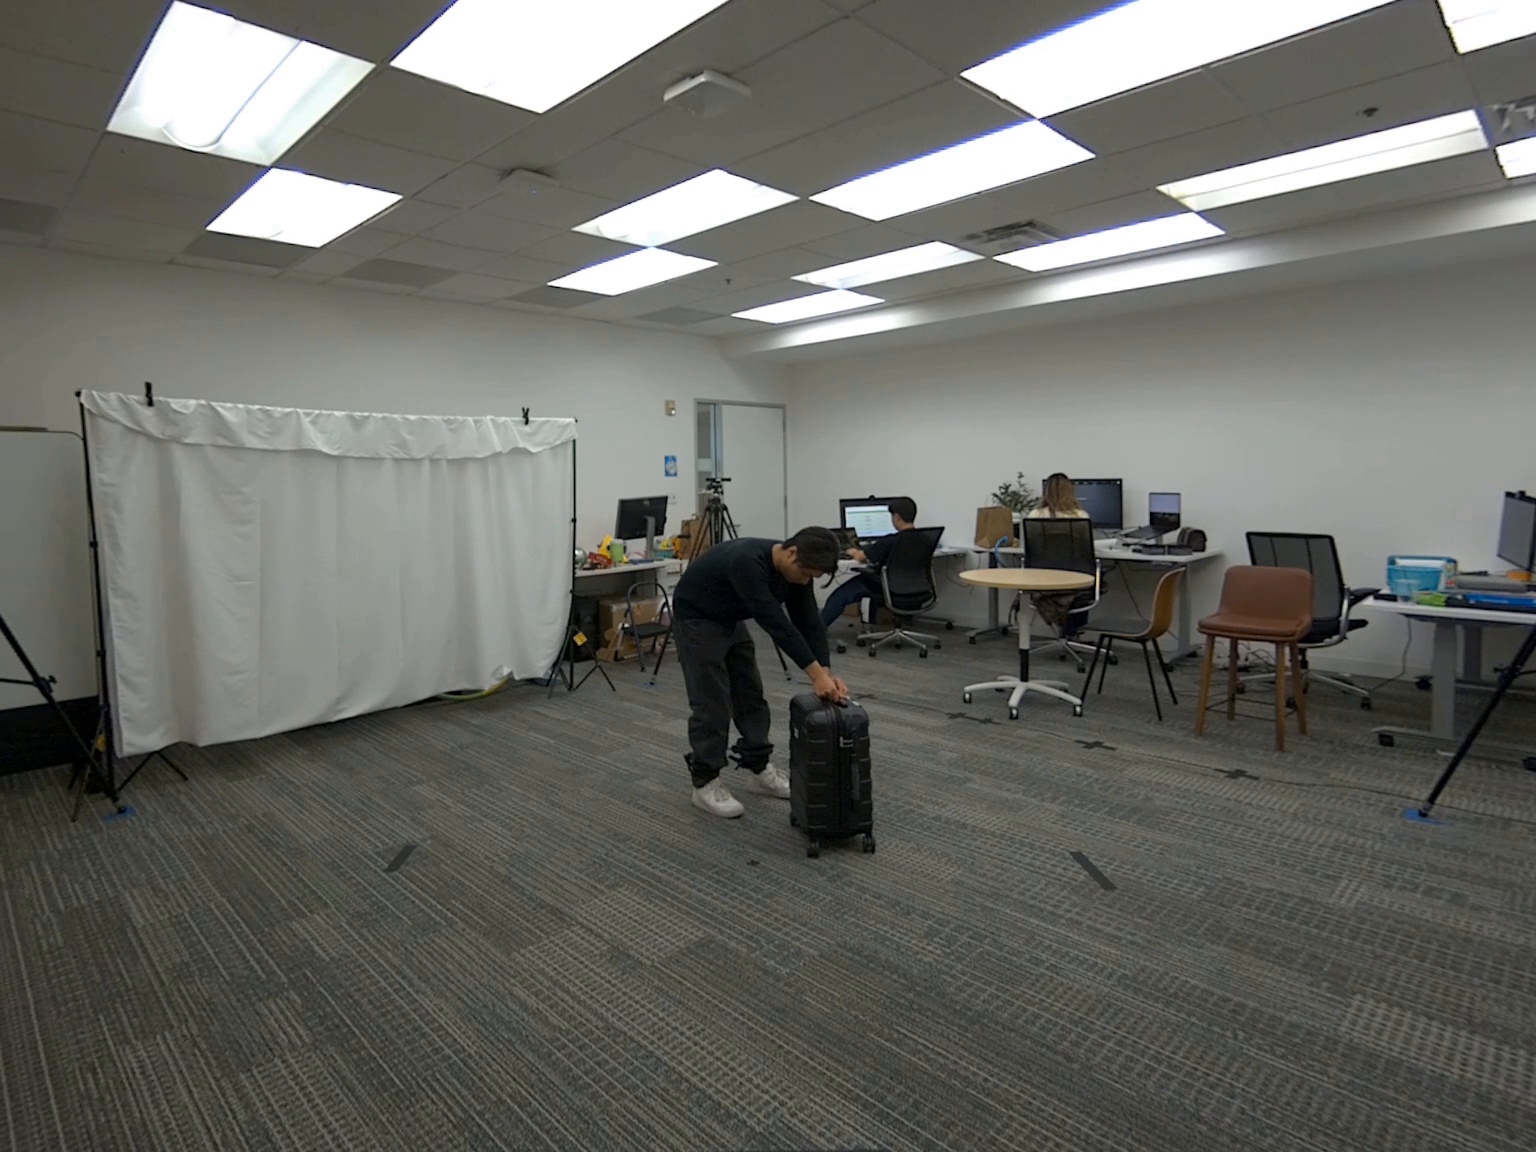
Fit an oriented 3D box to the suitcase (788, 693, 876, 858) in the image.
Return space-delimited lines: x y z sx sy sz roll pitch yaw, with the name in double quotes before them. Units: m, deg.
"suitcase" 0.244 0.738 3.315 0.246 0.548 0.380 -3 3 -11
